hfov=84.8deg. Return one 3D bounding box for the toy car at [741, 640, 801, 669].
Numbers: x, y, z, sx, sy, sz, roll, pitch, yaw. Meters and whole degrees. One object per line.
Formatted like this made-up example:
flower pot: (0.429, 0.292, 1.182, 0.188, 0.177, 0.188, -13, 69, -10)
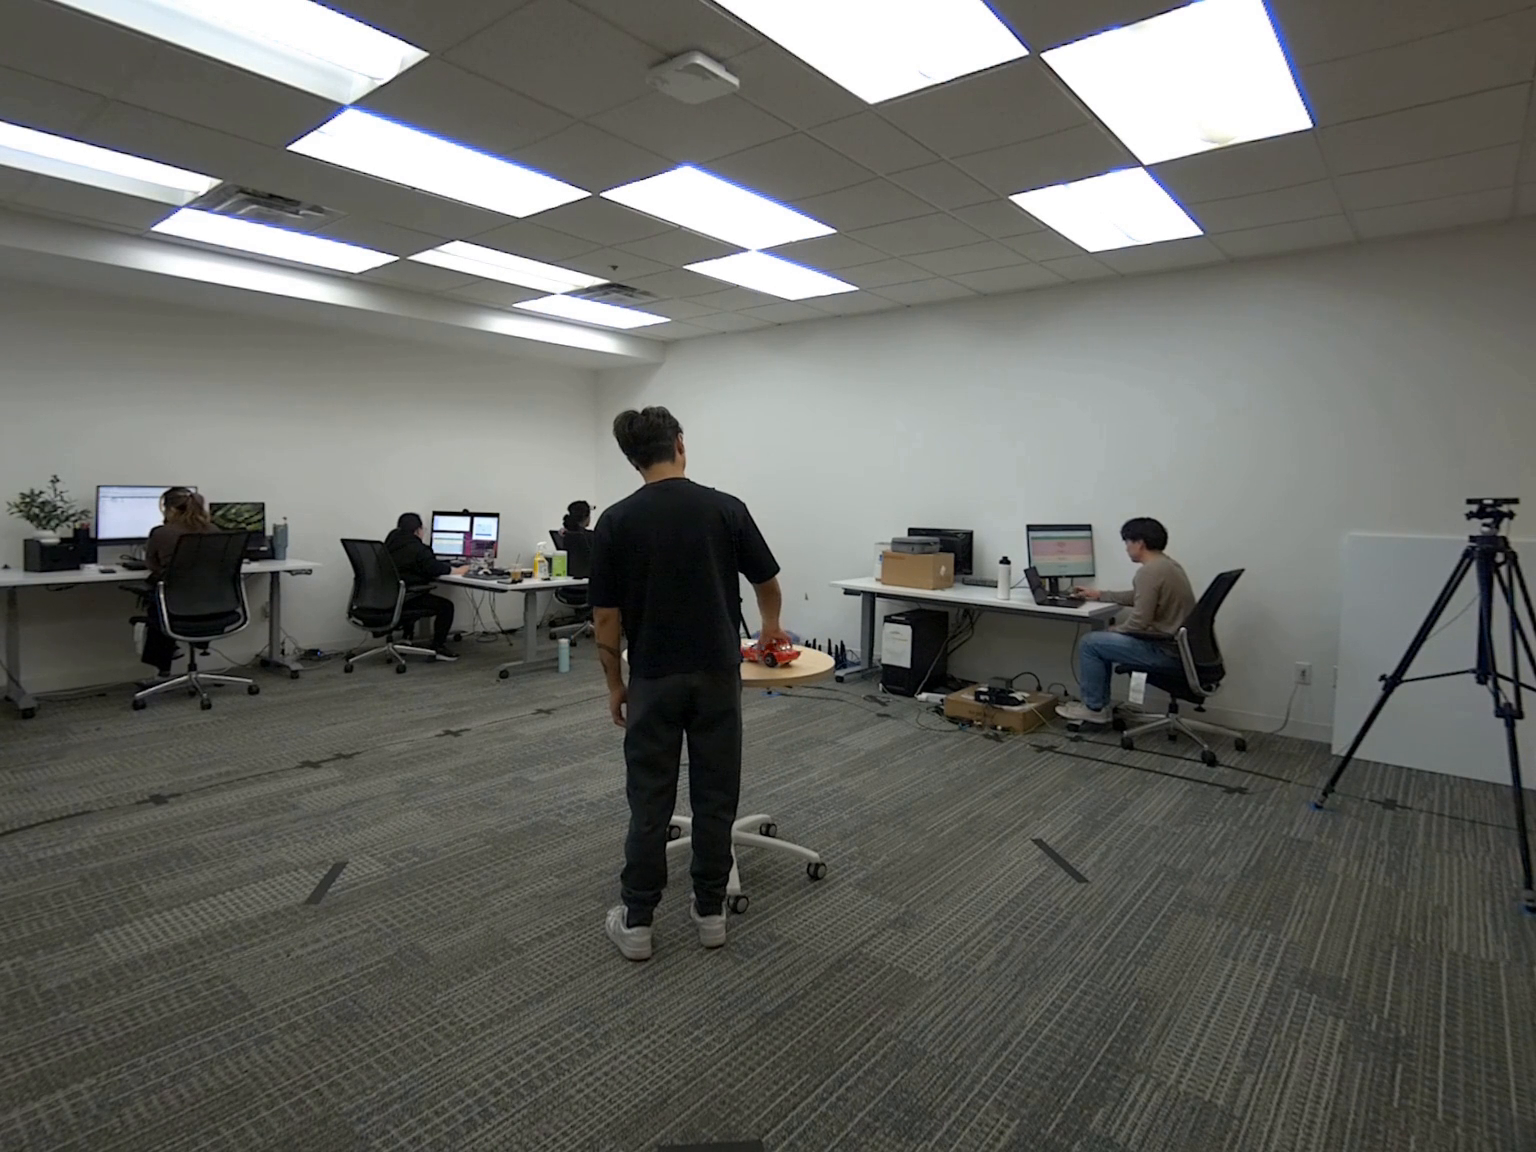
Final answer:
toy car: (-0.008, 0.271, 2.972, 0.261, 0.083, 0.126, -7, -3, 41)
